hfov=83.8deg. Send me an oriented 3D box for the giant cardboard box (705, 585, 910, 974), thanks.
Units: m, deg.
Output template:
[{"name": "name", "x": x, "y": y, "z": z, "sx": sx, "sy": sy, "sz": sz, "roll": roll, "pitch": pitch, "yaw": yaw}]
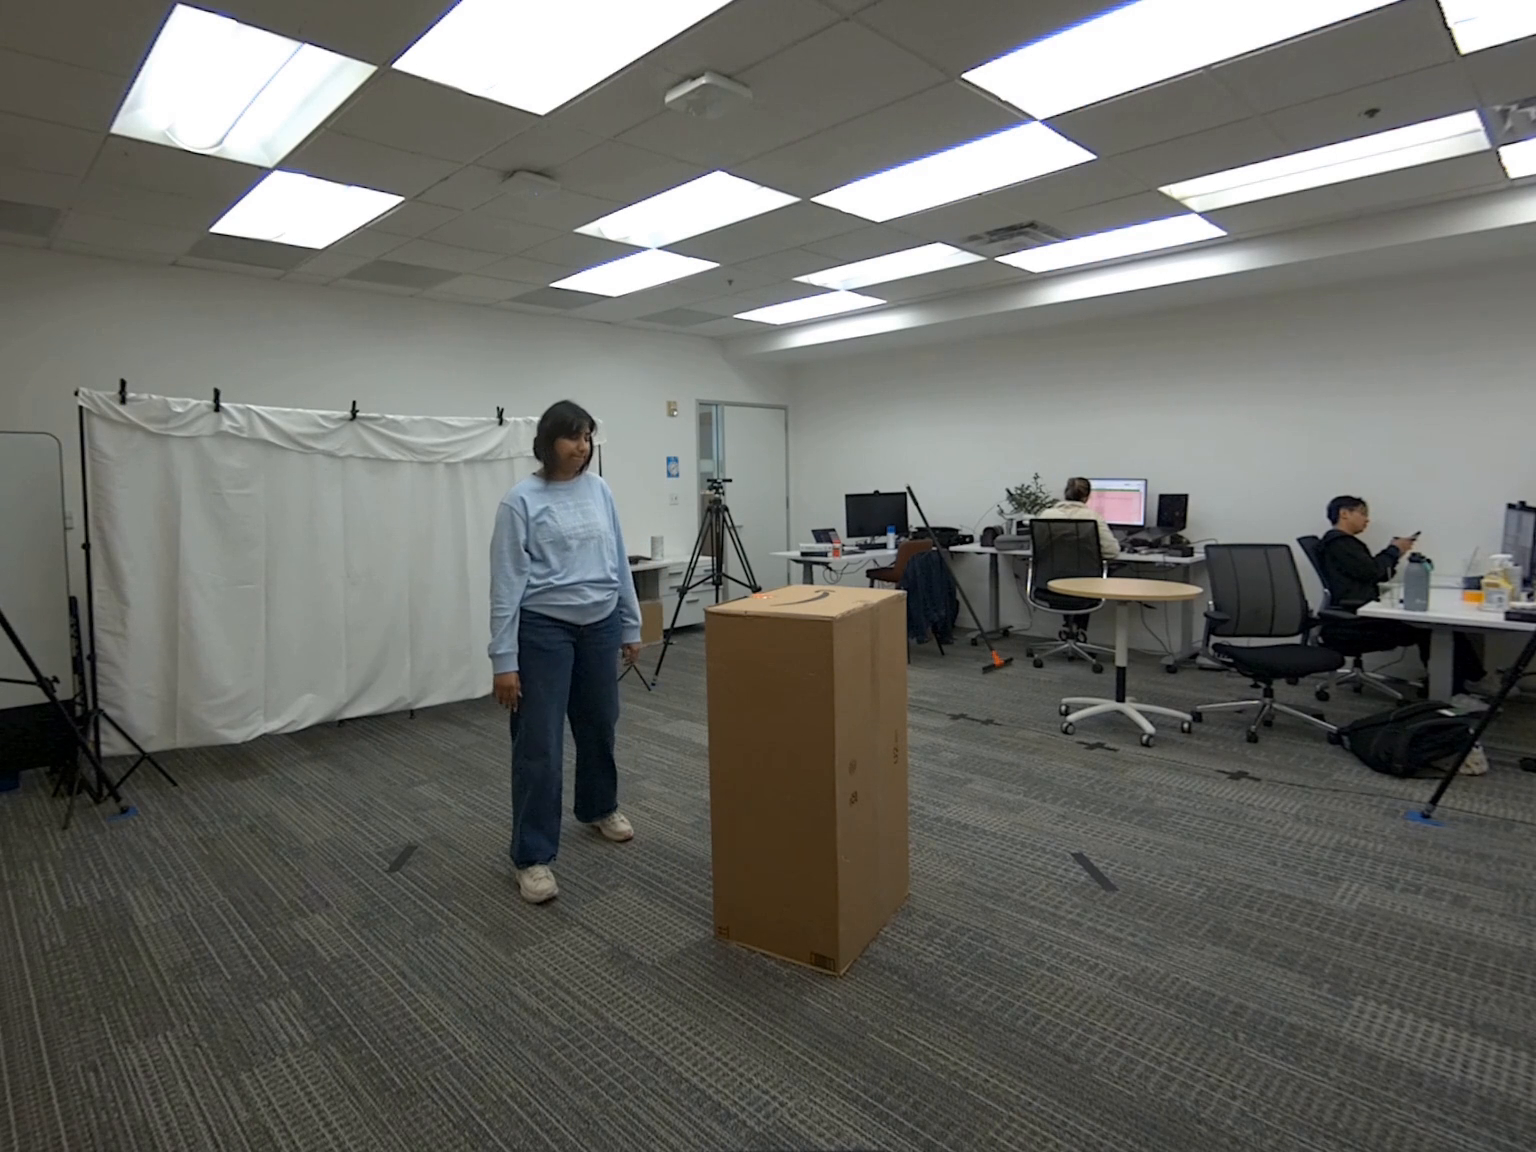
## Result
[{"name": "giant cardboard box", "x": 0.141, "y": 0.579, "z": 2.697, "sx": 0.437, "sy": 1.022, "sz": 0.564, "roll": 1, "pitch": 5, "yaw": 31}]
